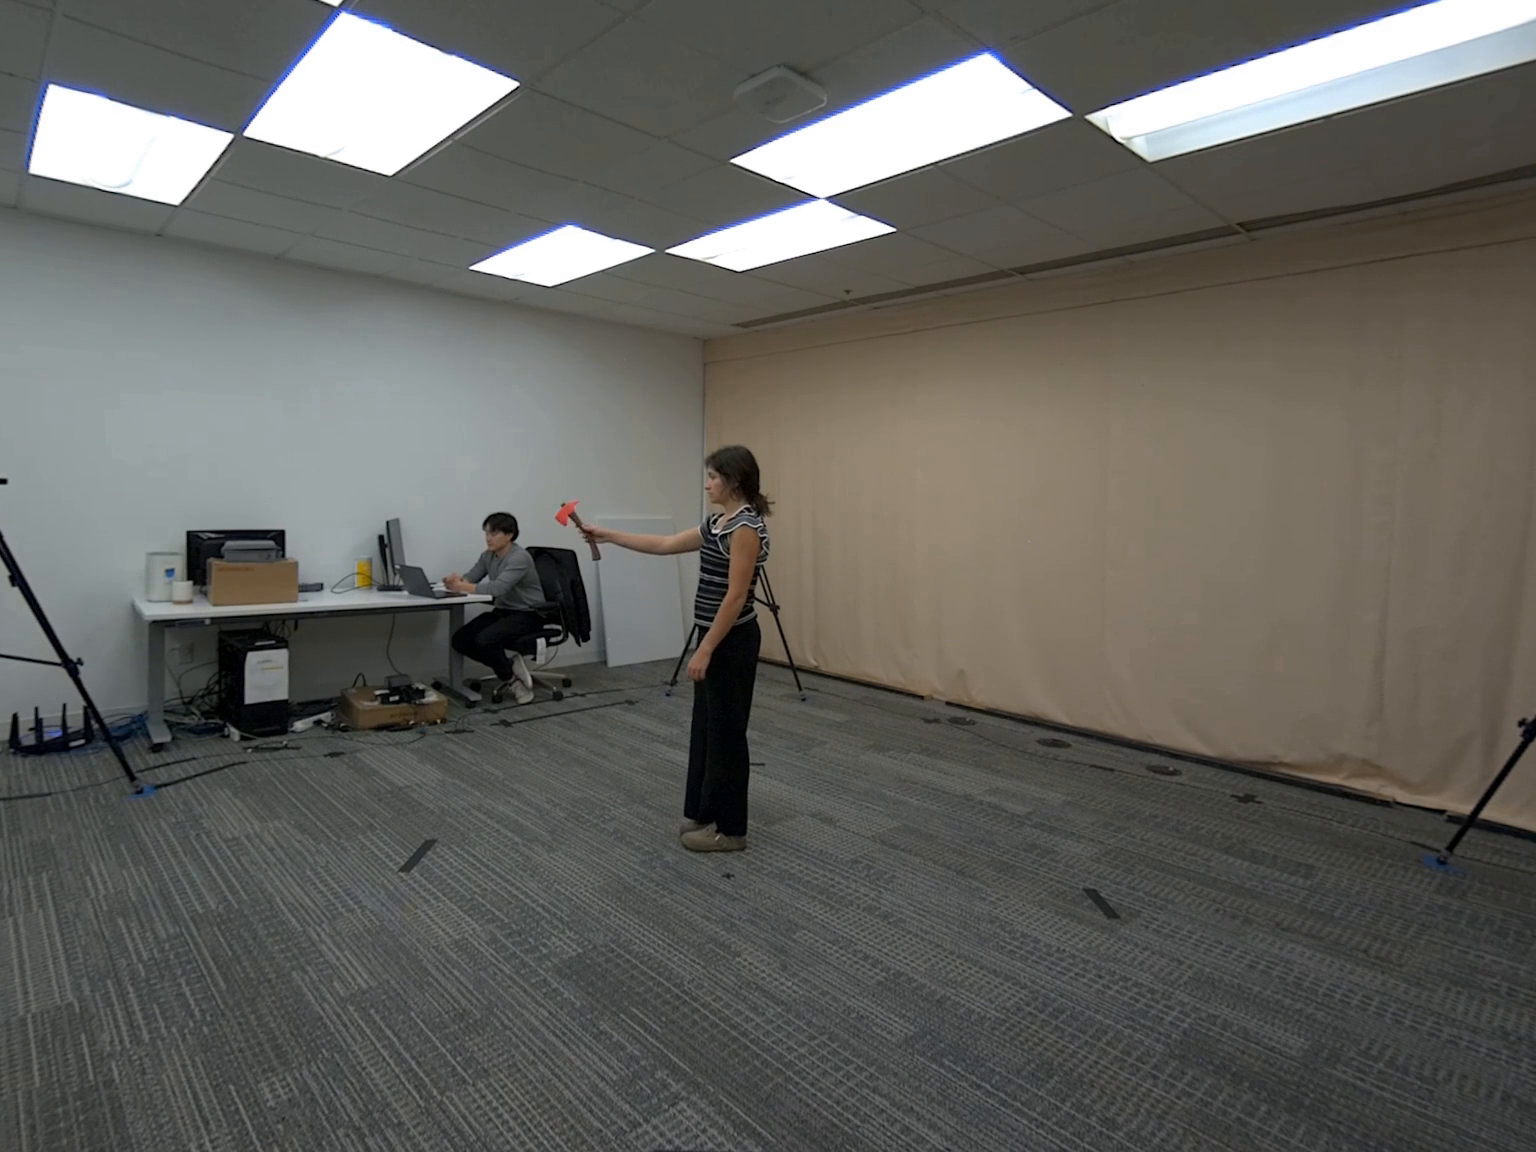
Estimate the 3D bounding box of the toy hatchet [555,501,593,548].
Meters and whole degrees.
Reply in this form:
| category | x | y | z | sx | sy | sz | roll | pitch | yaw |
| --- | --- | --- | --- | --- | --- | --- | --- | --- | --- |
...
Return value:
| category | x | y | z | sx | sy | sz | roll | pitch | yaw |
| --- | --- | --- | --- | --- | --- | --- | --- | --- | --- |
| toy hatchet | -0.782 | -0.175 | 3.447 | 0.129 | 0.270 | 0.030 | -22 | -2 | -38 |
